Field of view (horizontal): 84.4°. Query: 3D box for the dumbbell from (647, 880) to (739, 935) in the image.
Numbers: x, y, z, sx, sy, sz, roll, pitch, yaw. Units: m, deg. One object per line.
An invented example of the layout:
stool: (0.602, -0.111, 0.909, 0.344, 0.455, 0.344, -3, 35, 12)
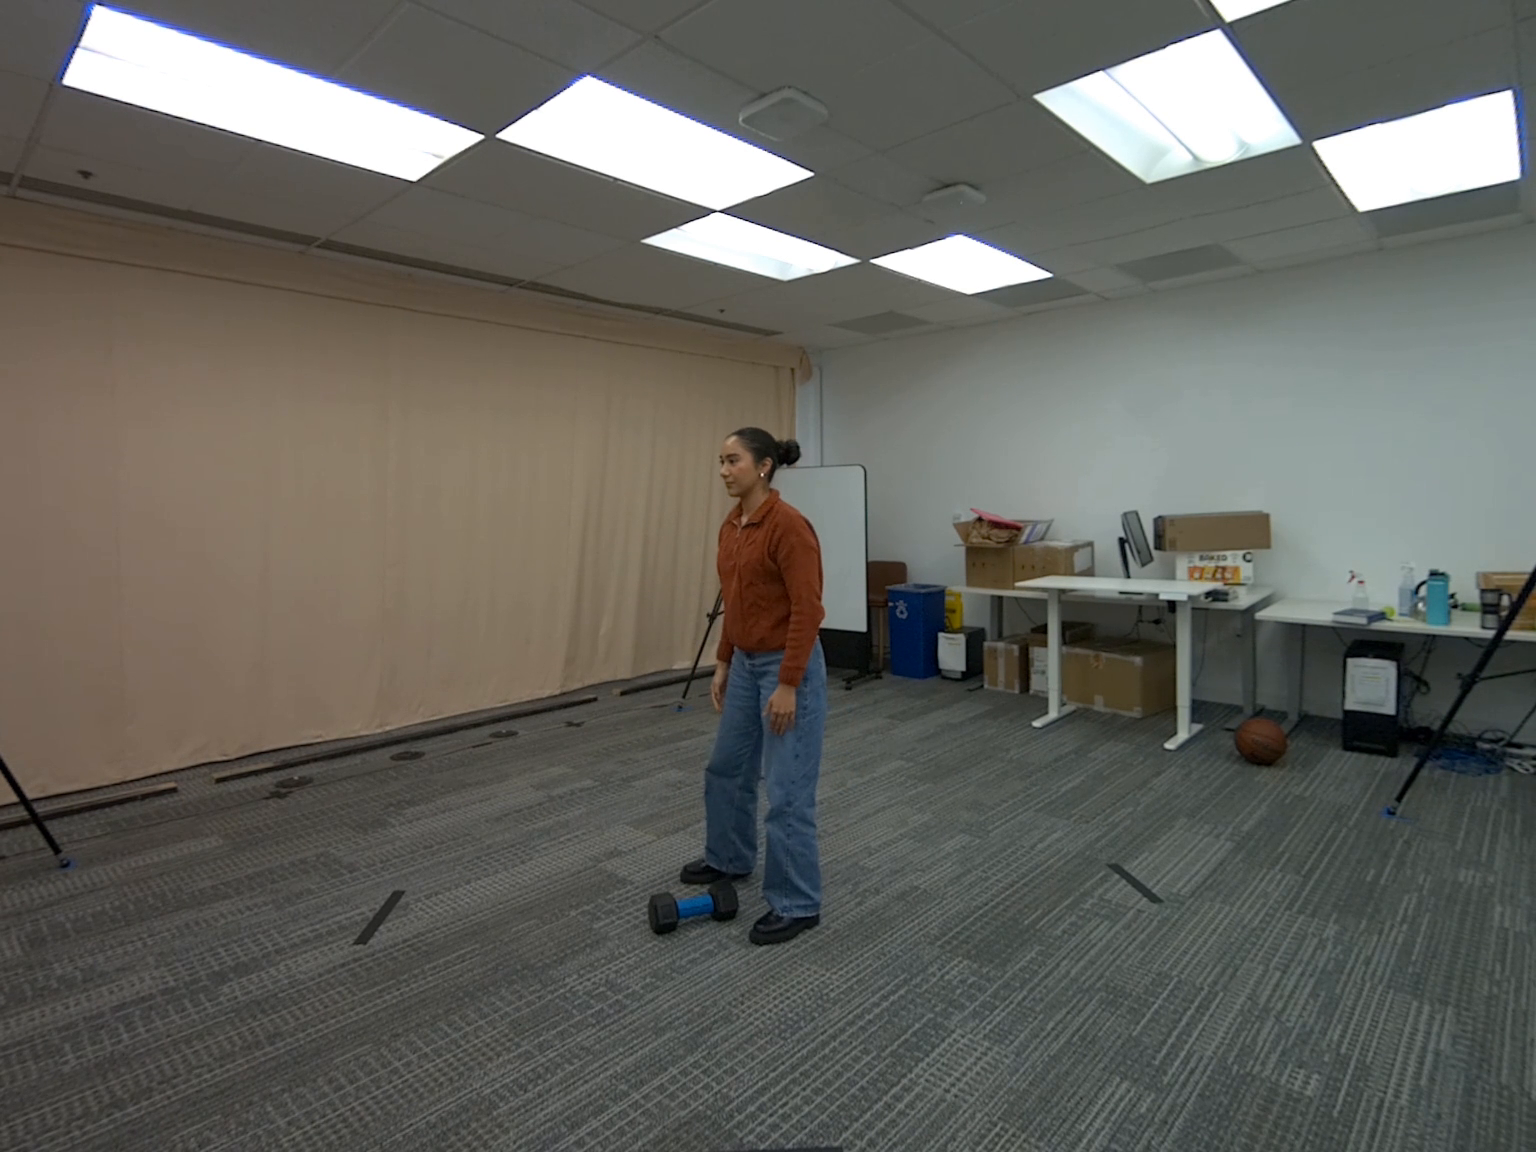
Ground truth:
dumbbell: (-0.248, 1.112, 2.805, 0.288, 0.125, 0.109, -2, -25, -19)
